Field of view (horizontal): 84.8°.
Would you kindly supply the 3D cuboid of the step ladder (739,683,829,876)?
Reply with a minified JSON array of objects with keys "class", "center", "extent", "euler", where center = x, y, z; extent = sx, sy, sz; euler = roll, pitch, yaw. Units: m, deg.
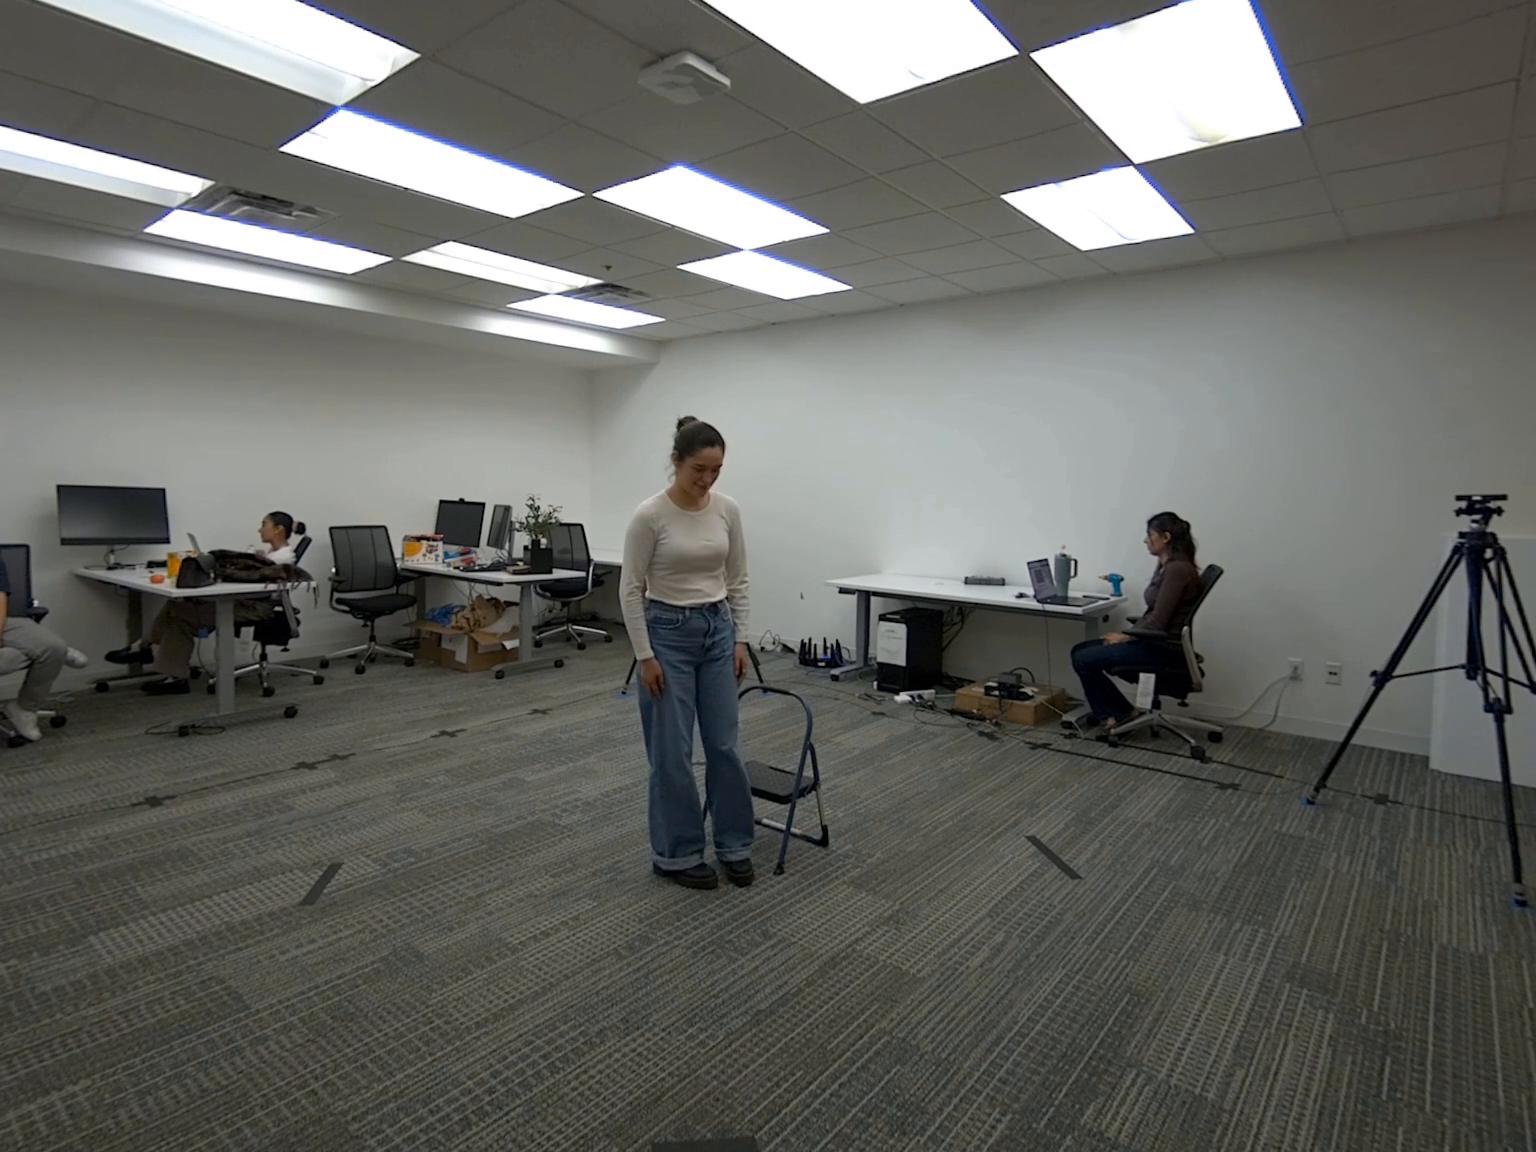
[{"class":"step ladder","center":[-0.024,0.742,3.315],"extent":[0.445,0.604,0.339],"euler":[4,5,38]}]
